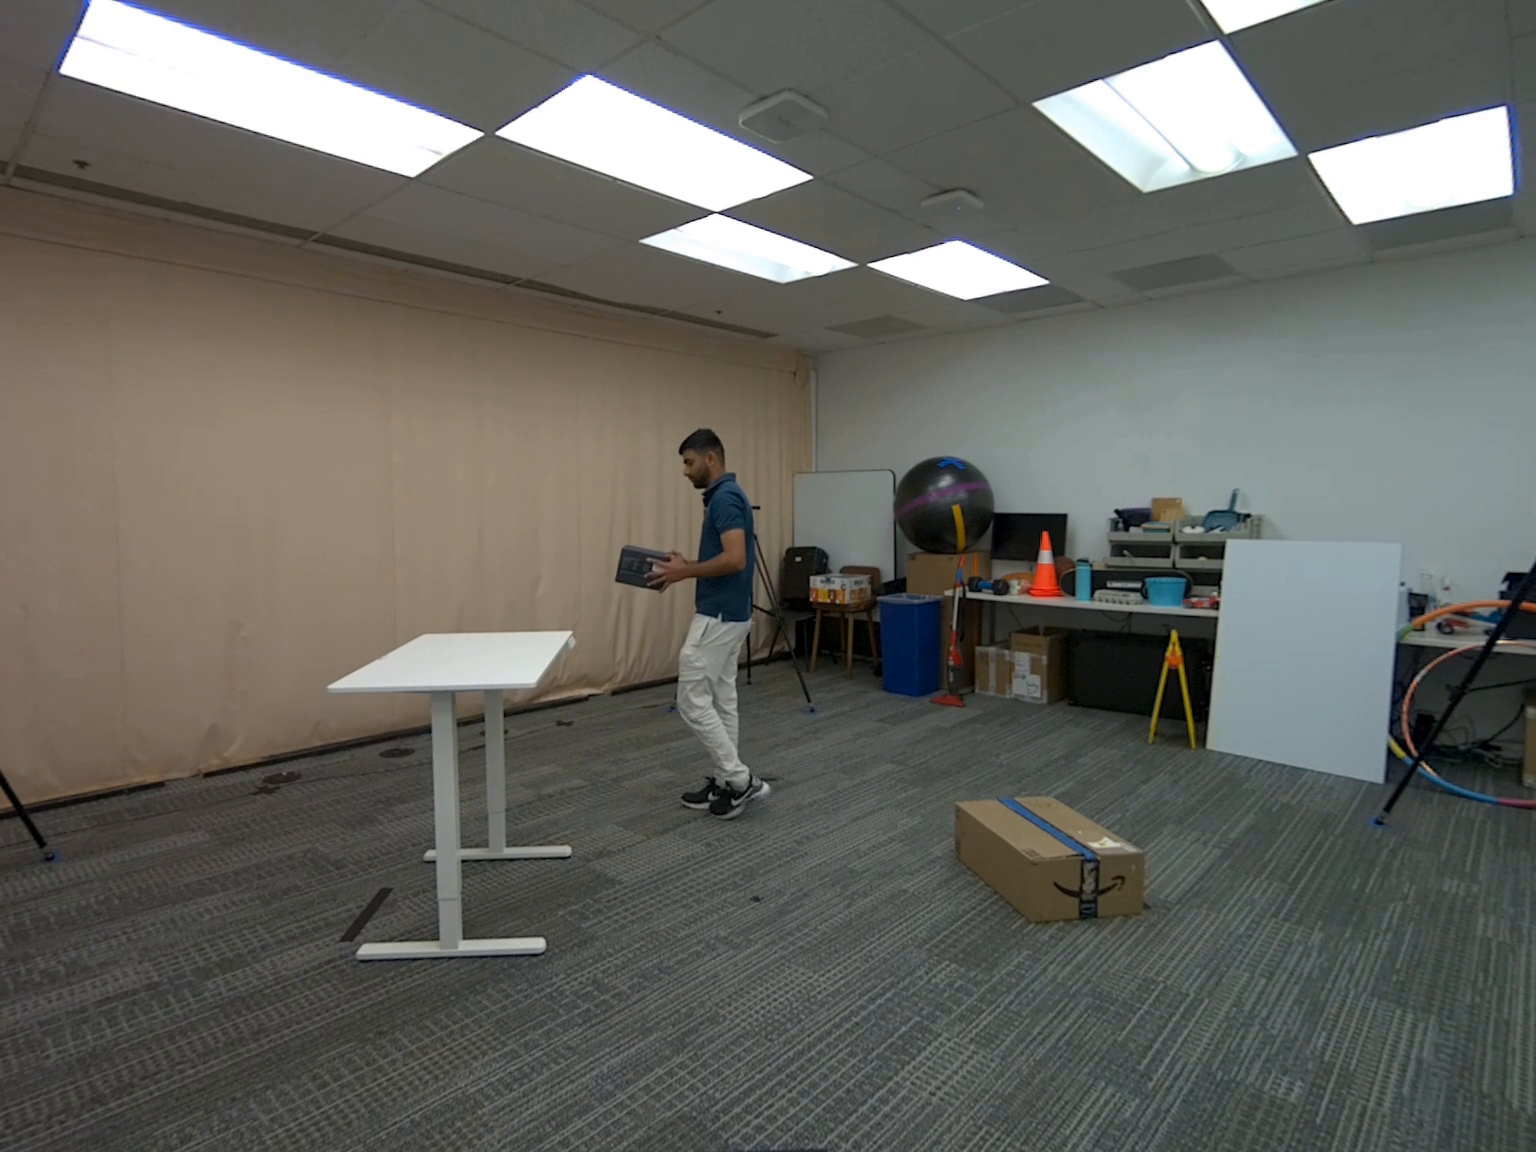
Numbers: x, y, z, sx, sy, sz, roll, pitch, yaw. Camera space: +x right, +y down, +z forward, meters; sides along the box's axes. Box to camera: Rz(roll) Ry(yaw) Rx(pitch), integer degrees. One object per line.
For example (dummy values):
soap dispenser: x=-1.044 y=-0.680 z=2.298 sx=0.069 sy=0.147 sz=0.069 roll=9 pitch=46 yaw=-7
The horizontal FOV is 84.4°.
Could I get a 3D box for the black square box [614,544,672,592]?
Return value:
black square box: x=-0.563 y=-0.040 z=3.824 sx=0.216 sy=0.155 sz=0.229 roll=11 pitch=4 yaw=-3
